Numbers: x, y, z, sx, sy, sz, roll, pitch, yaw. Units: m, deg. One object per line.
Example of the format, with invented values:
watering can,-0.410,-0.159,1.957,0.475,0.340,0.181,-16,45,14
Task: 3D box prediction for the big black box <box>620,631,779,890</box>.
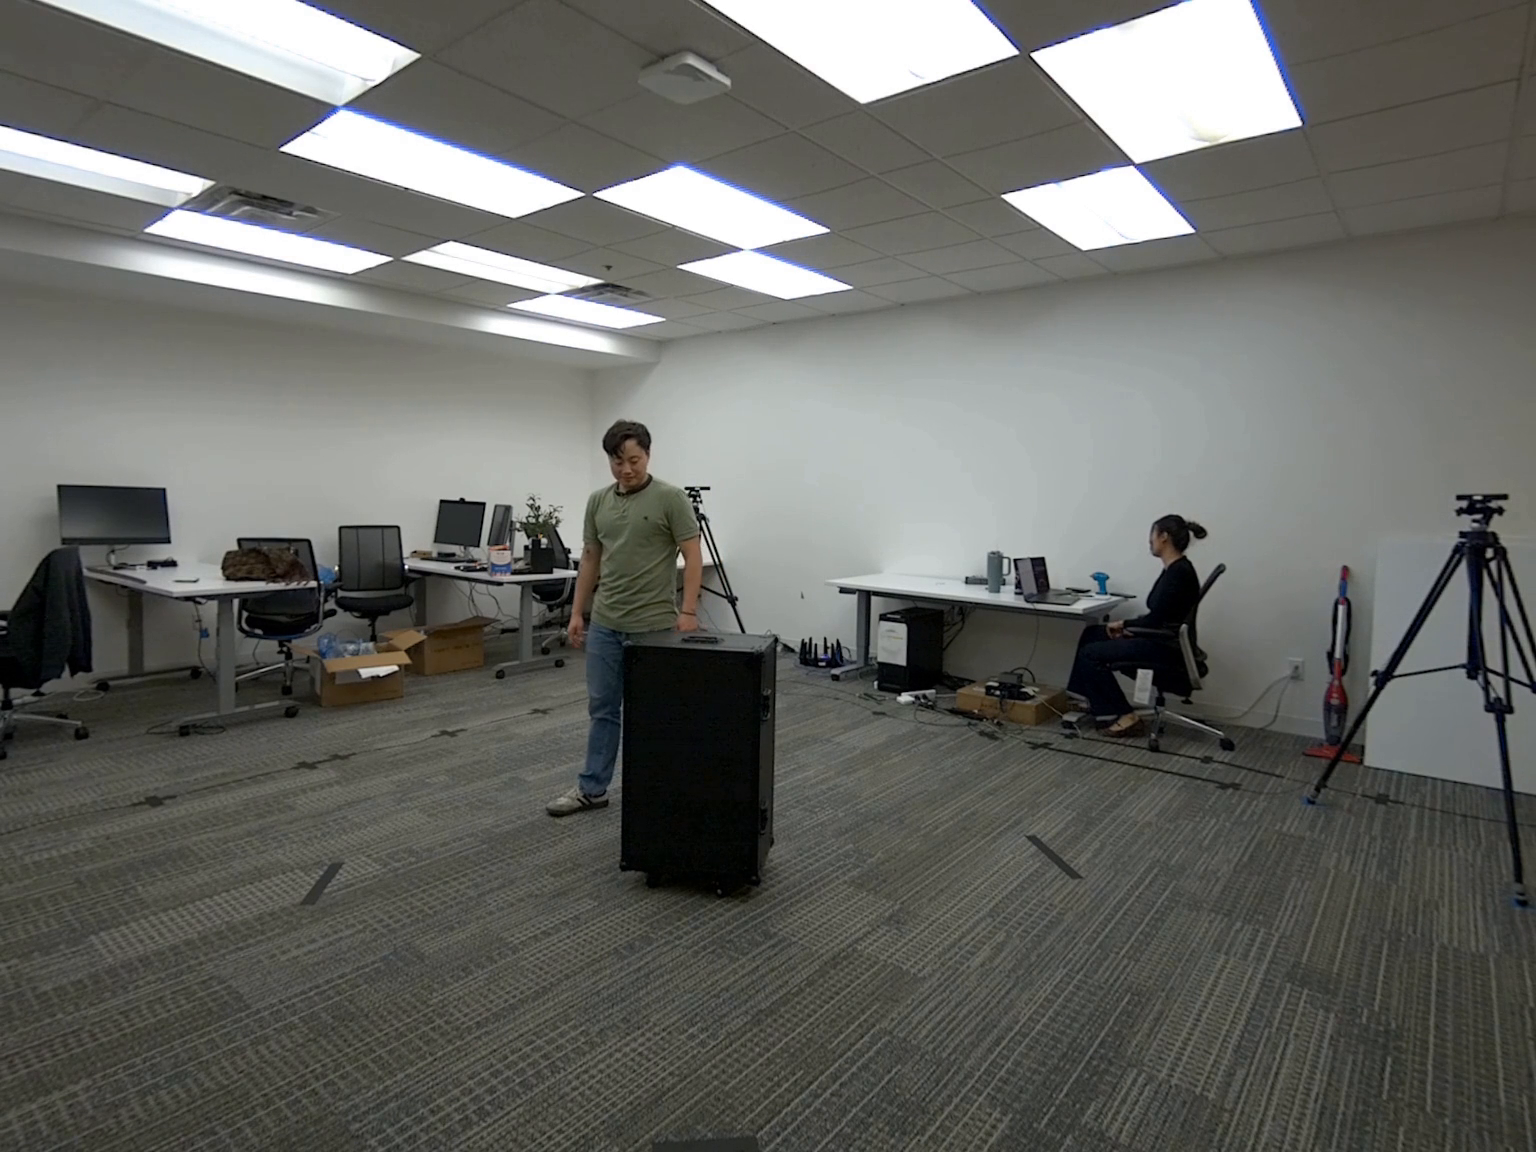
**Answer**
big black box,-0.248,0.646,3.033,0.528,0.859,0.392,1,3,11
